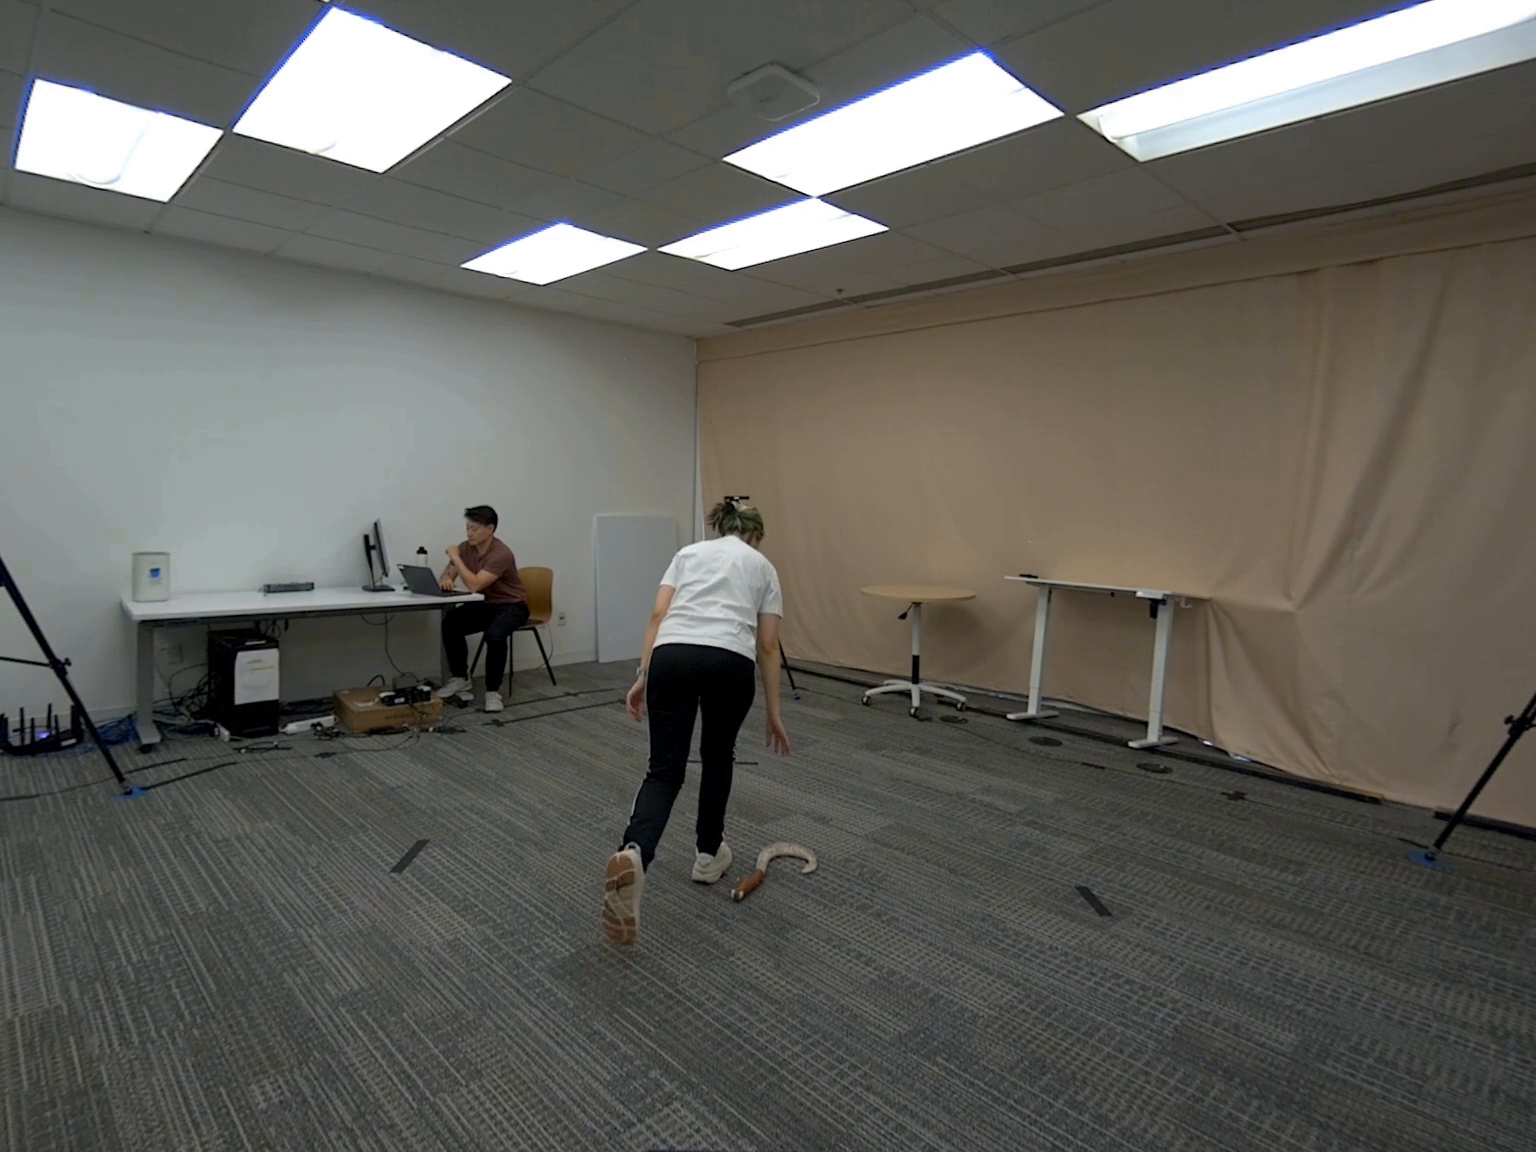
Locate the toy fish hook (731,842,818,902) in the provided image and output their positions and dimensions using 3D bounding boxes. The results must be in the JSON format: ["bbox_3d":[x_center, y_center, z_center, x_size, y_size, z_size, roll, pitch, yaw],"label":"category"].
[{"bbox_3d":[0.023,1.084,3.087,0.229,0.048,0.499,2,6,23],"label":"toy fish hook"}]
